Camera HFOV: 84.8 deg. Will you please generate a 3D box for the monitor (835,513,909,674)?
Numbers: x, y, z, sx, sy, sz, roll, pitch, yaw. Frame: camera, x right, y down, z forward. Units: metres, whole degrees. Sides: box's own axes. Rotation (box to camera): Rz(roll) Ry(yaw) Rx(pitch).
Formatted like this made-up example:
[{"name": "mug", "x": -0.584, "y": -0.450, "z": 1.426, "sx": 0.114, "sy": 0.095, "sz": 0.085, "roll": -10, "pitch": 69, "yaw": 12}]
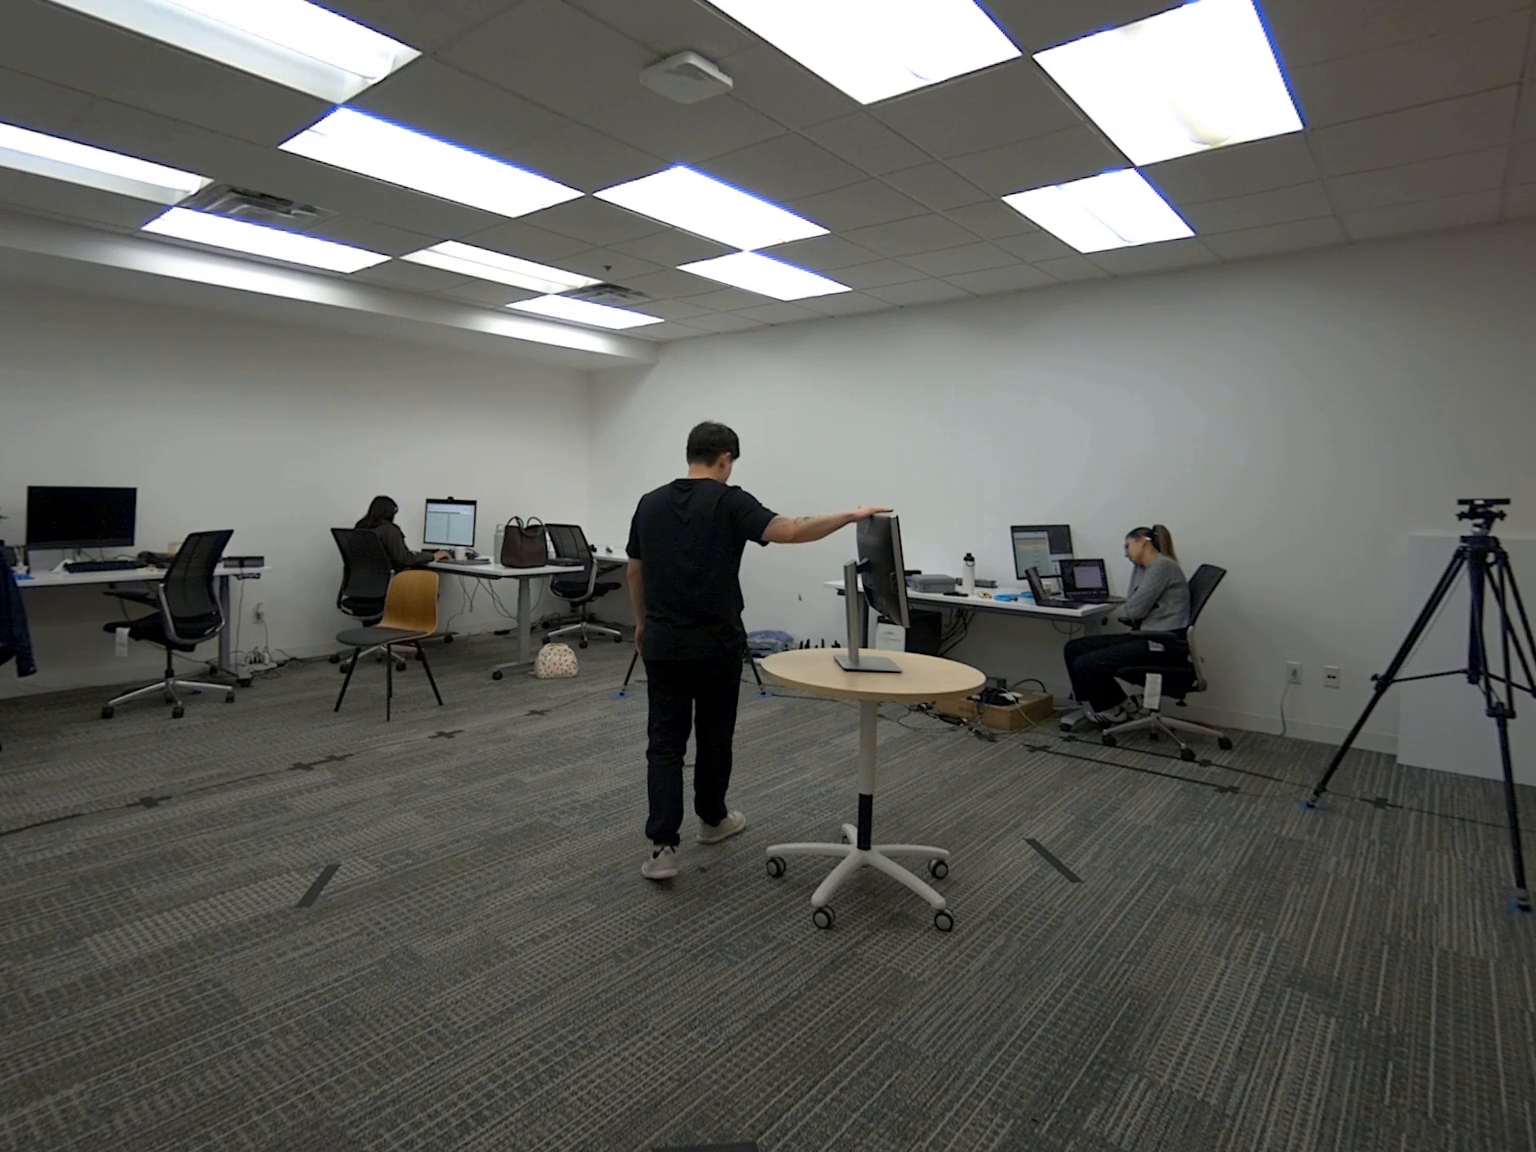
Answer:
[{"name": "monitor", "x": 0.349, "y": 0.052, "z": 2.989, "sx": 0.186, "sy": 0.521, "sz": 0.544, "roll": 3, "pitch": 5, "yaw": -6}]
